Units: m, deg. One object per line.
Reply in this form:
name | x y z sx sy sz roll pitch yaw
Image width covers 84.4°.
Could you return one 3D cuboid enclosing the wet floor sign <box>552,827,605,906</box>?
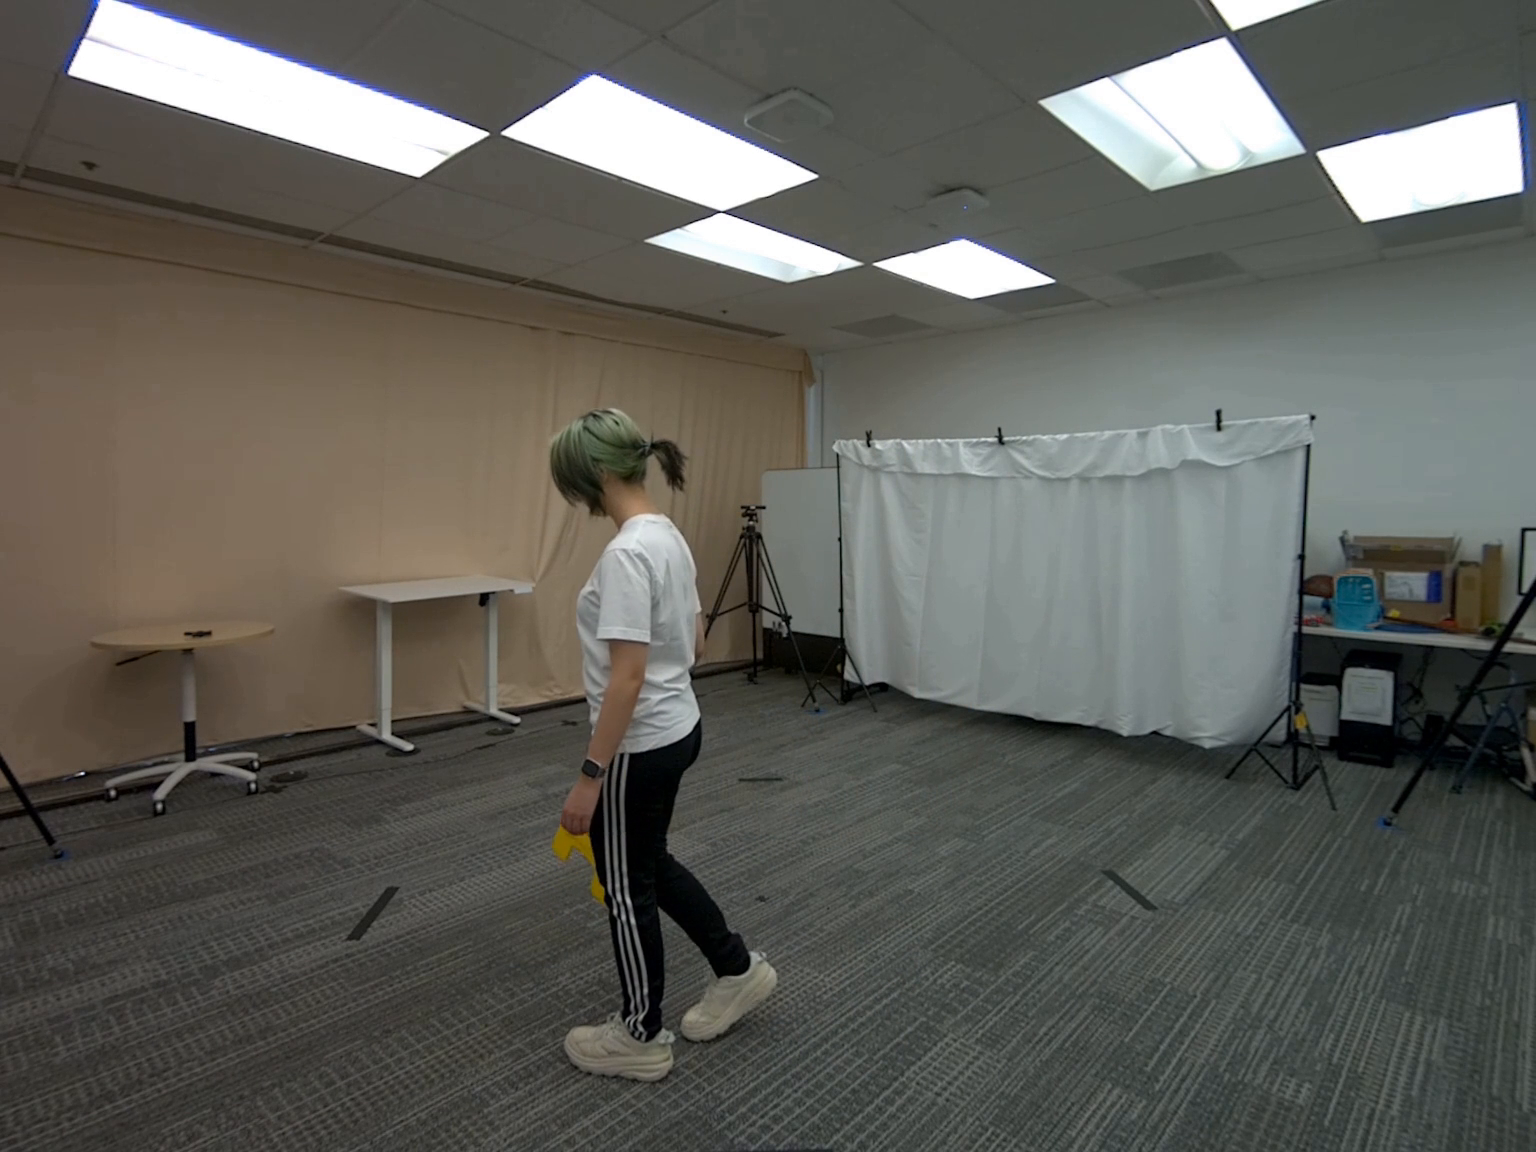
wet floor sign | -0.427 0.626 2.552 0.292 0.642 0.281 31 26 34
